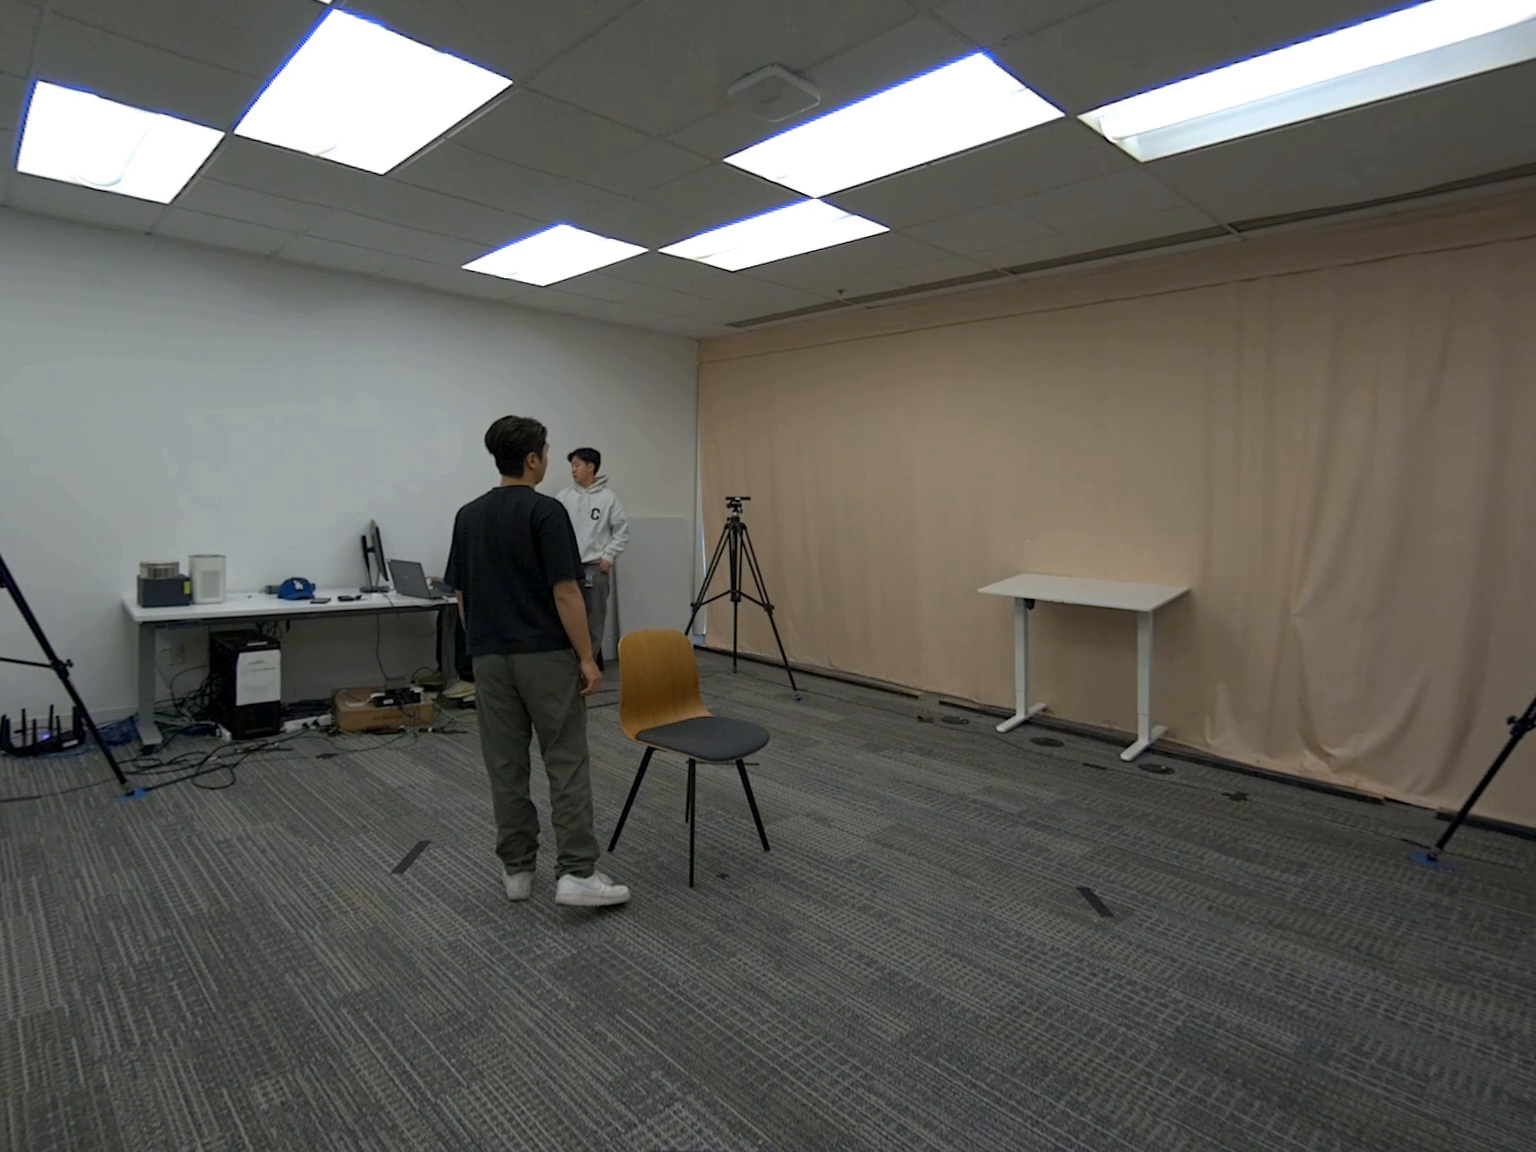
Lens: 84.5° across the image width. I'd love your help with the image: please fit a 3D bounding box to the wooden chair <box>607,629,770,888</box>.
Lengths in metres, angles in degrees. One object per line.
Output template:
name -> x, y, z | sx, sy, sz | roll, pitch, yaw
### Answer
wooden chair -> -0.298, 0.659, 3.280 | 0.535, 0.877, 0.467 | -1, 0, 40
